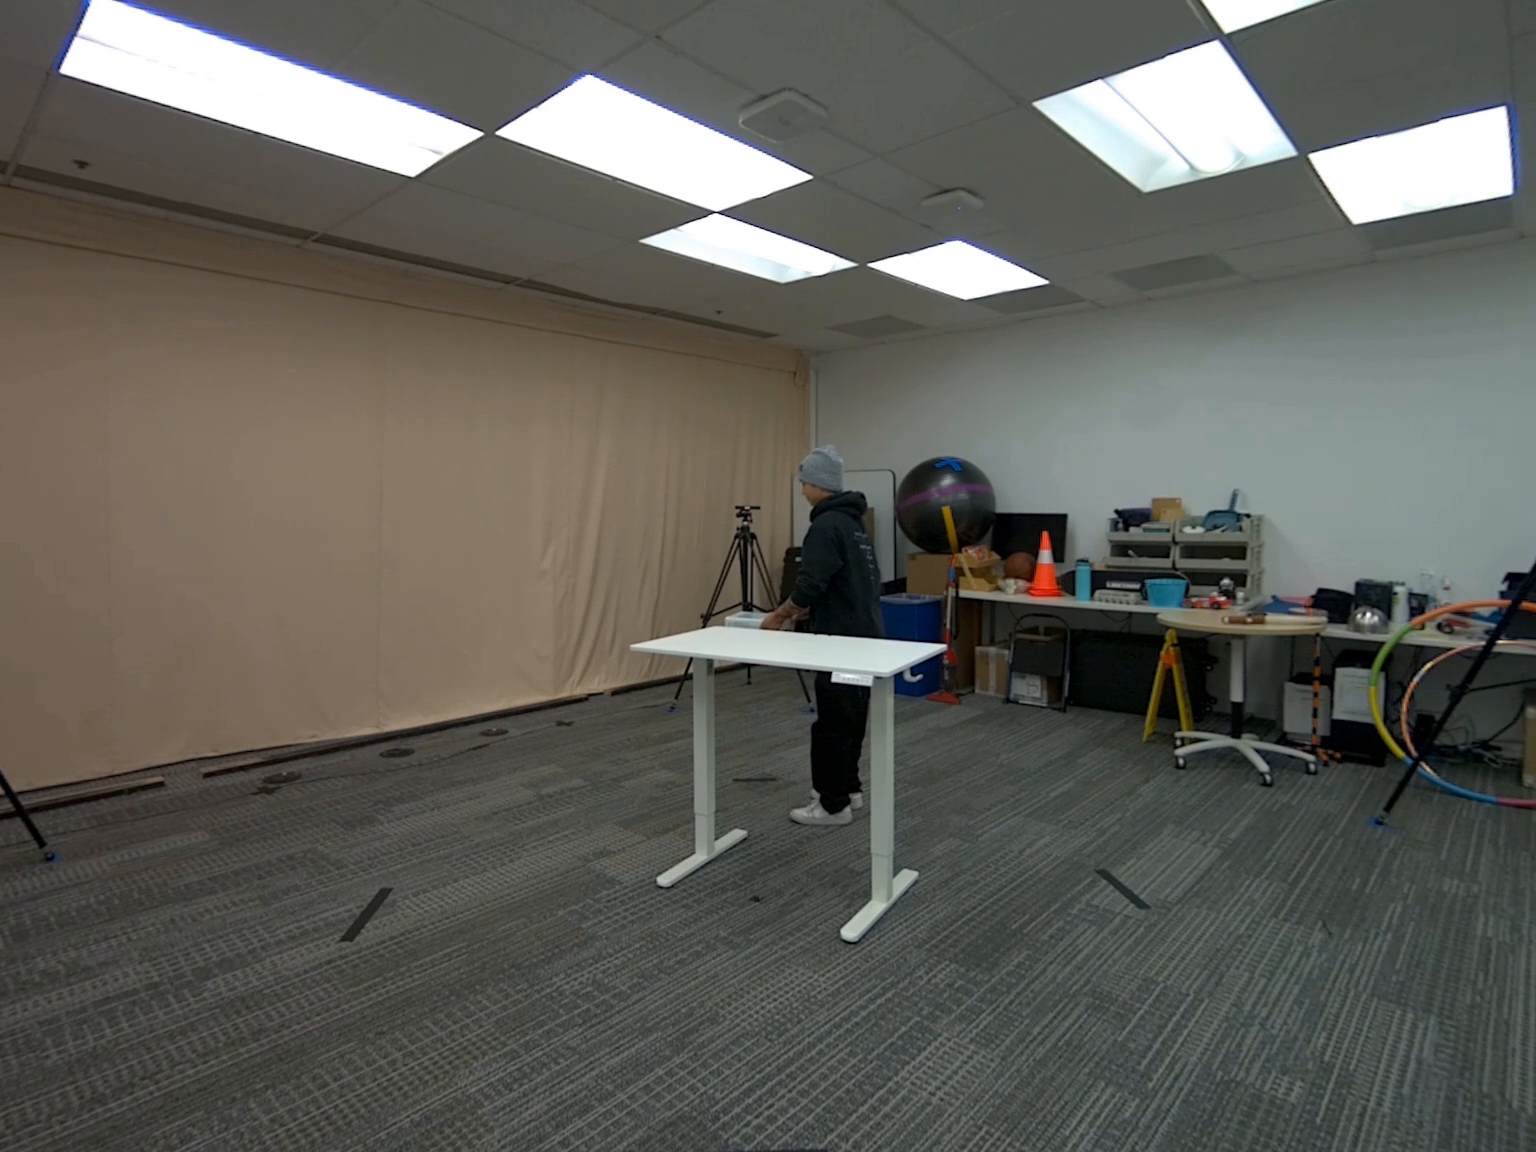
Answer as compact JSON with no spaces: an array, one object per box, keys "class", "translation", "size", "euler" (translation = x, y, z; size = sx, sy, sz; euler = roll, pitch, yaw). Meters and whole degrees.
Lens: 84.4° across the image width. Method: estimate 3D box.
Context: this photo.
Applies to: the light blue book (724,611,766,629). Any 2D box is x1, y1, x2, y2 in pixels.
[{"class":"light blue book","translation":[-0.045,0.219,3.980],"size":[0.267,0.059,0.187],"euler":[3,7,23]}]
